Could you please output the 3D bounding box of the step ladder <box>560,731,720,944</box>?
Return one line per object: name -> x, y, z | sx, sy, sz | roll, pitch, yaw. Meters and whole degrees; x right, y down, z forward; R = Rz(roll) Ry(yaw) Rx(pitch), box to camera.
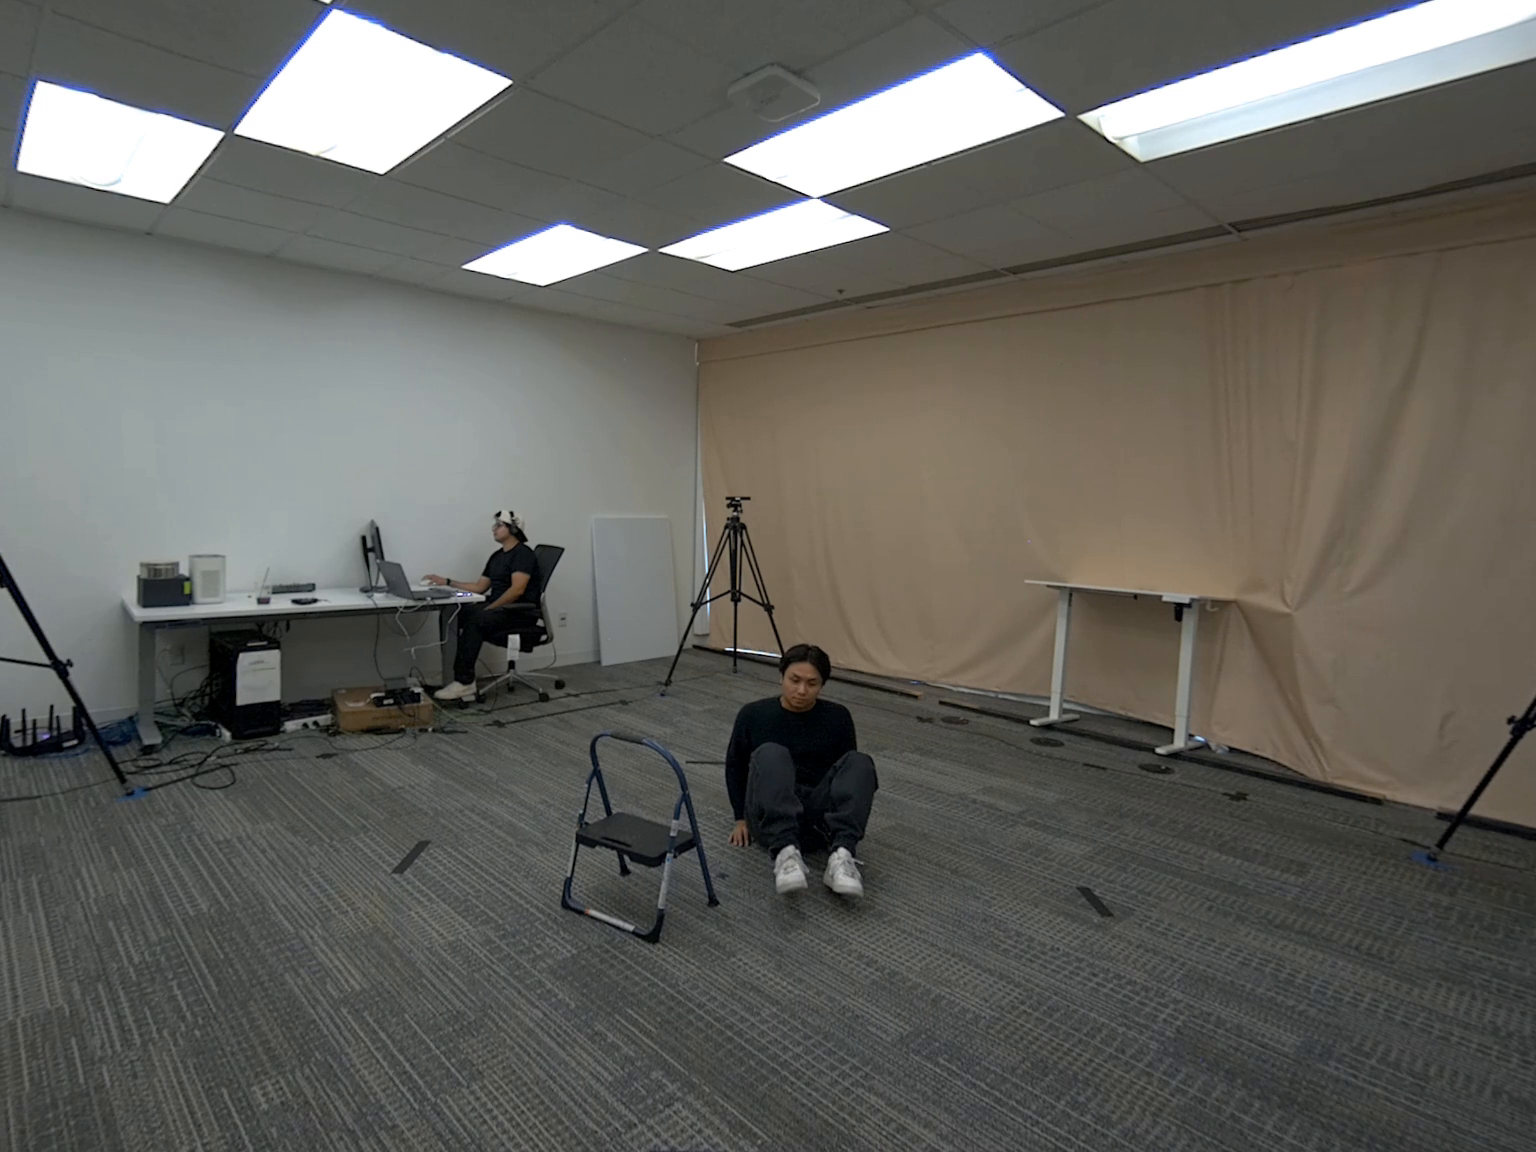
step ladder -> -0.436, 0.820, 2.849 | 0.440, 0.605, 0.342 | 3, 4, 32
